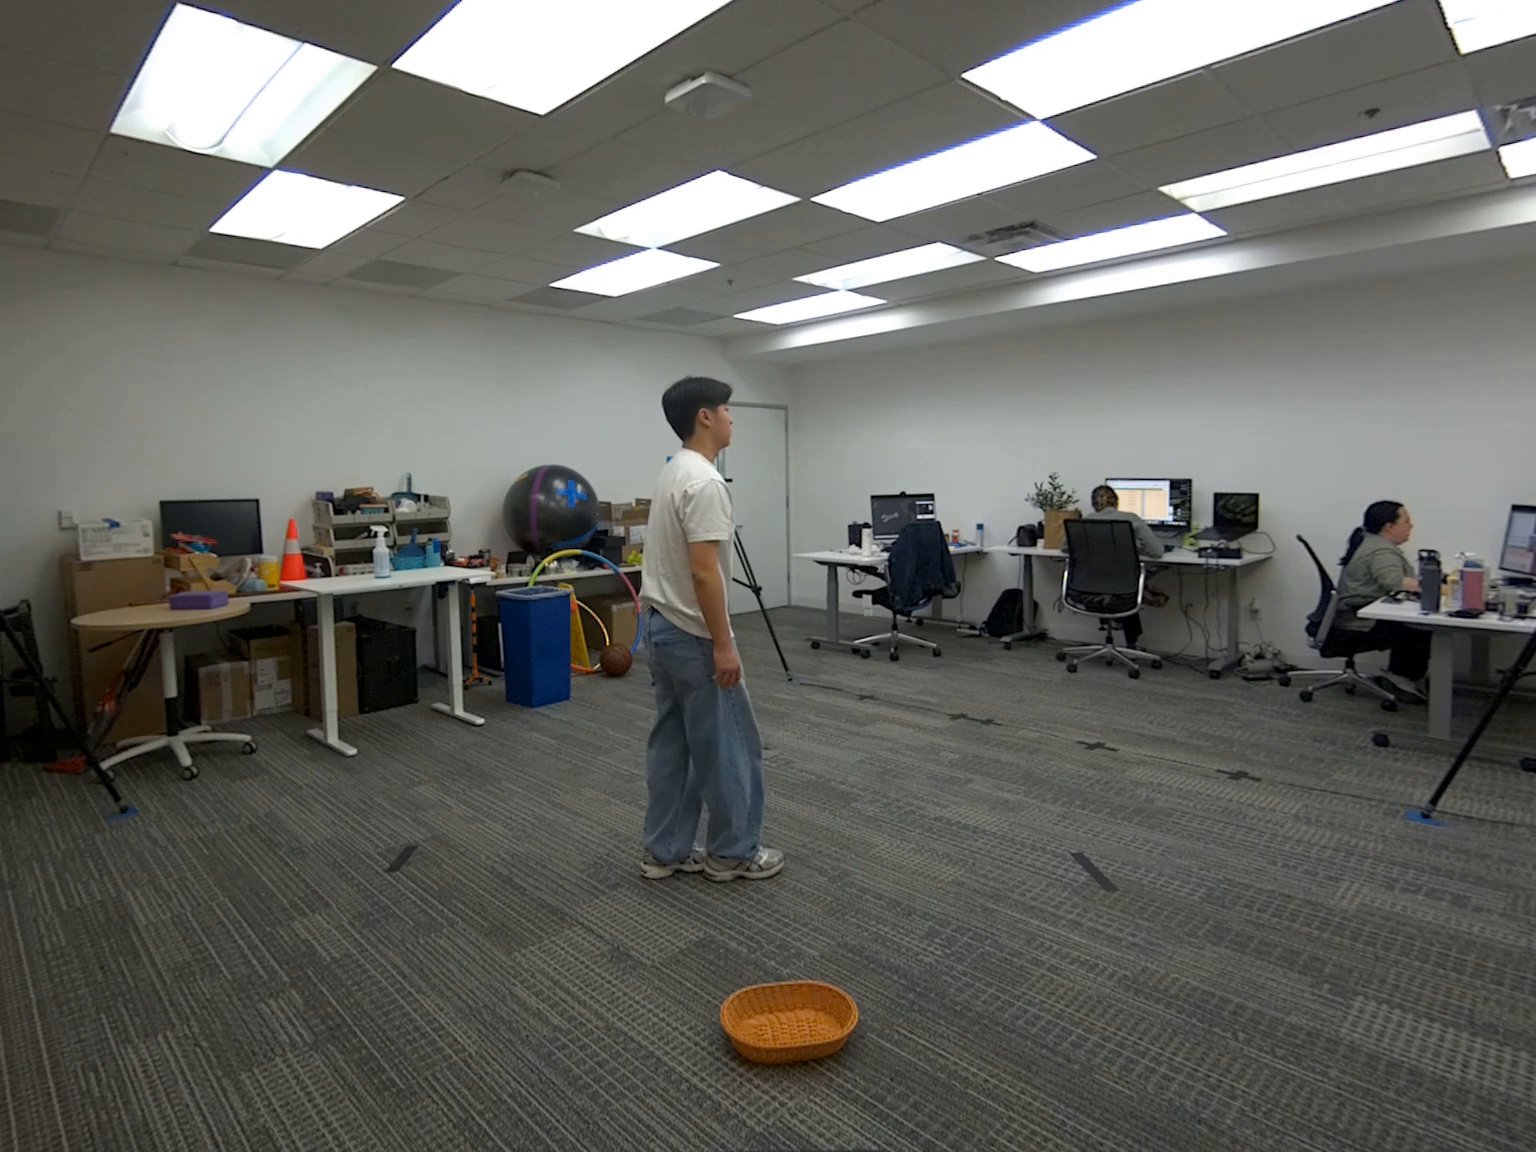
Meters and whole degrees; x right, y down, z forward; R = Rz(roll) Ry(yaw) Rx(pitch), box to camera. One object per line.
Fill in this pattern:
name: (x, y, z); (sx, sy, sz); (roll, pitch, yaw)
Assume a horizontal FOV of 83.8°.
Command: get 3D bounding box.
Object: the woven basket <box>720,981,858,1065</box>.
woven basket: (0.059, 1.120, 2.132); (0.349, 0.073, 0.255); (-2, 6, -5)
